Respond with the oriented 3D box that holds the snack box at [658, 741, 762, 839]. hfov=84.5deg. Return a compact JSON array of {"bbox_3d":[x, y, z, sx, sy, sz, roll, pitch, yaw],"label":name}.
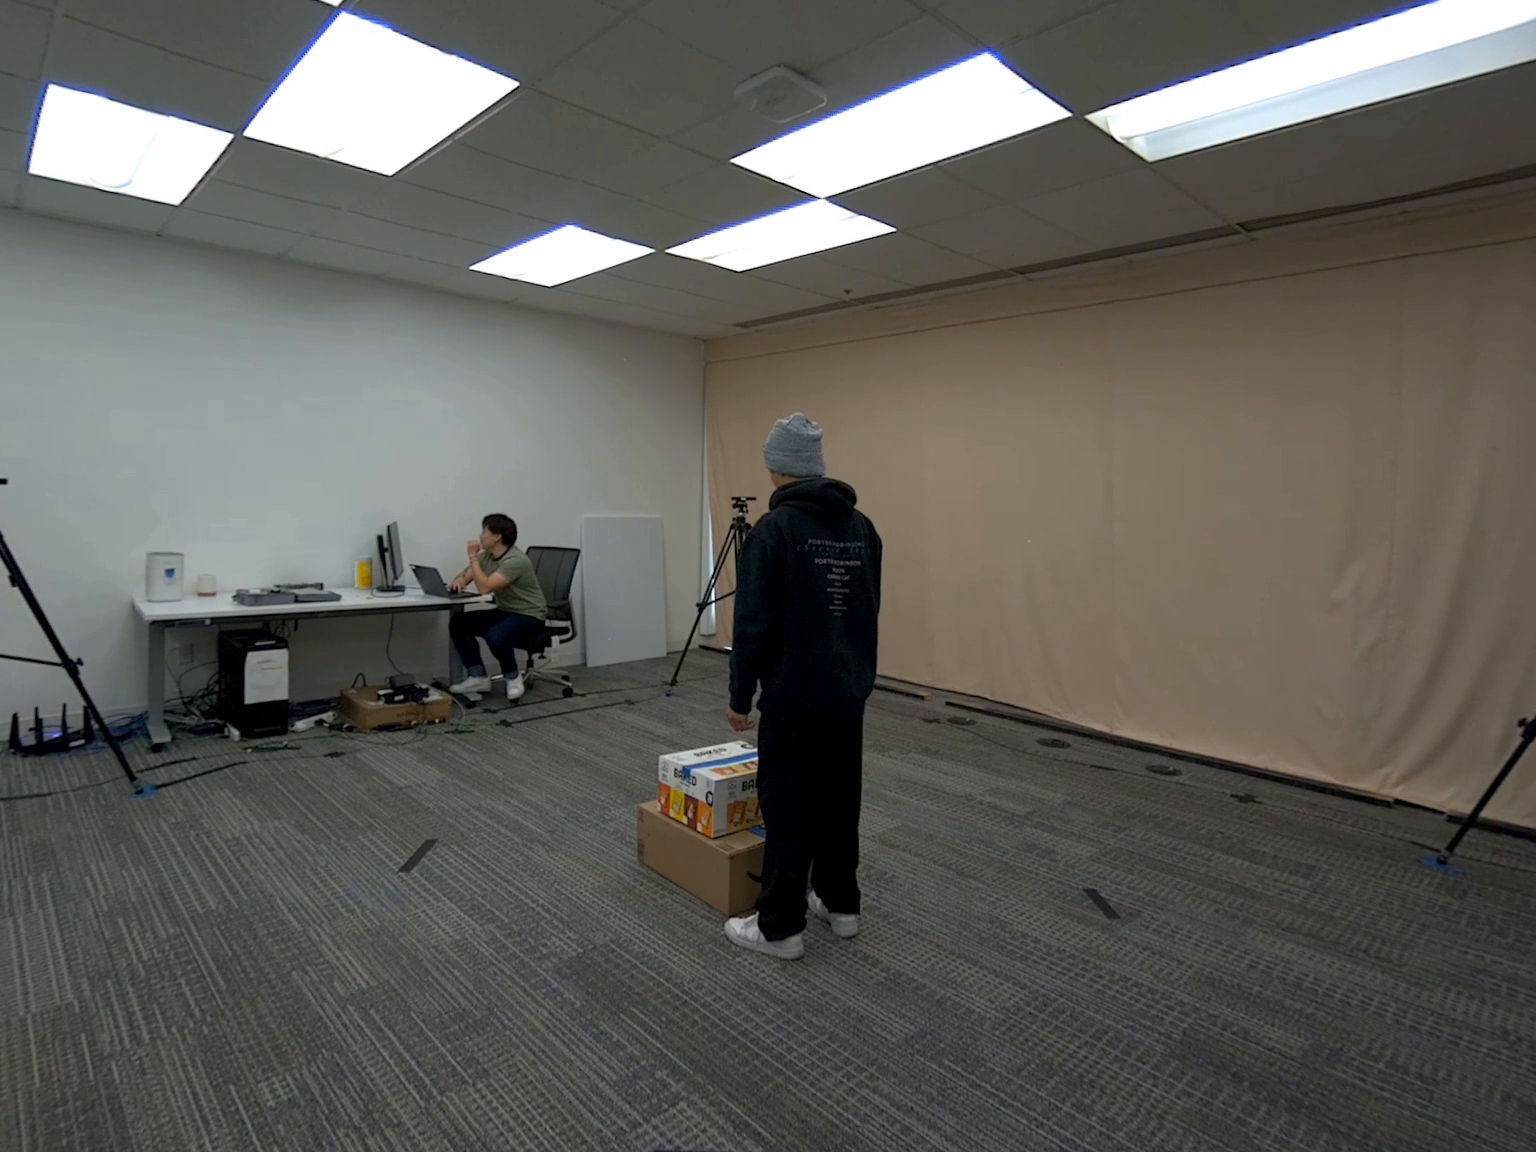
[{"bbox_3d":[-0.157,0.785,3.139,0.396,0.205,0.349,-1,5,-41],"label":"snack box"}]
